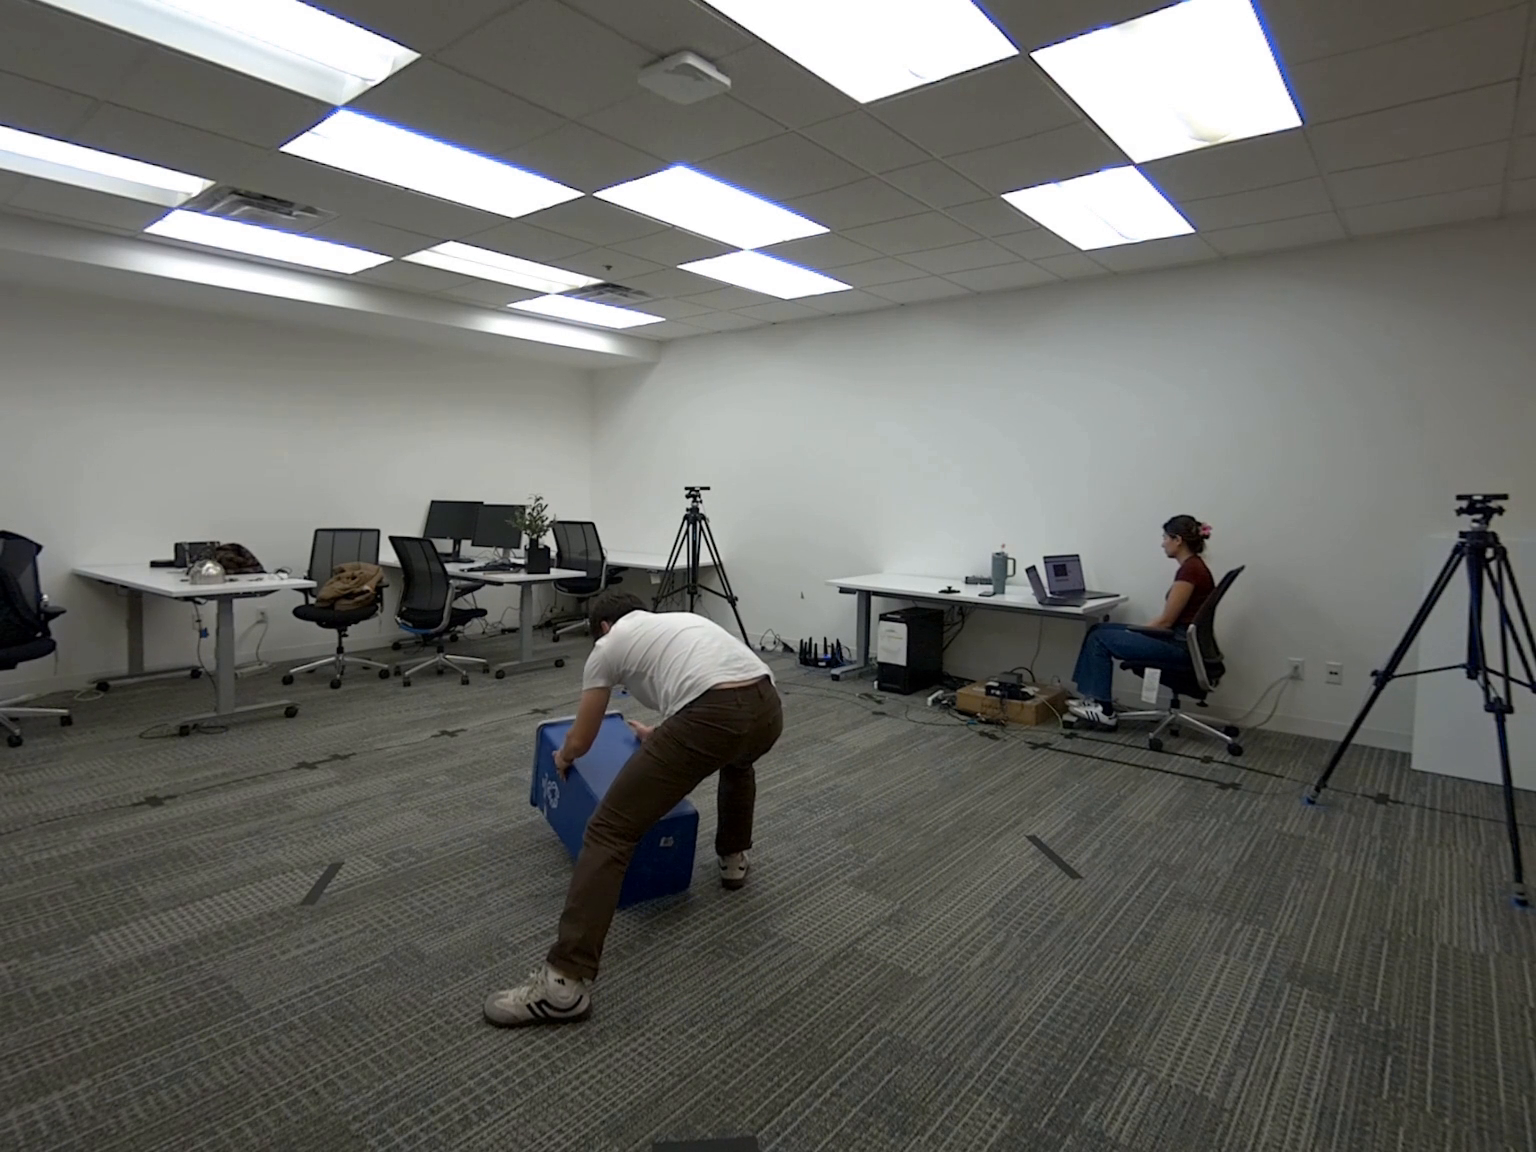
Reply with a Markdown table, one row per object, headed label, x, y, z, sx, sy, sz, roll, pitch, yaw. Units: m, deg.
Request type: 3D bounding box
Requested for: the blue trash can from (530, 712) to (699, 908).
| label | x | y | z | sx | sy | sz | roll | pitch | yaw |
| --- | --- | --- | --- | --- | --- | --- | --- | --- | --- |
| blue trash can | -0.586 | 0.815 | 3.116 | 0.363 | 0.374 | 0.742 | -2 | 17 | -35 |
